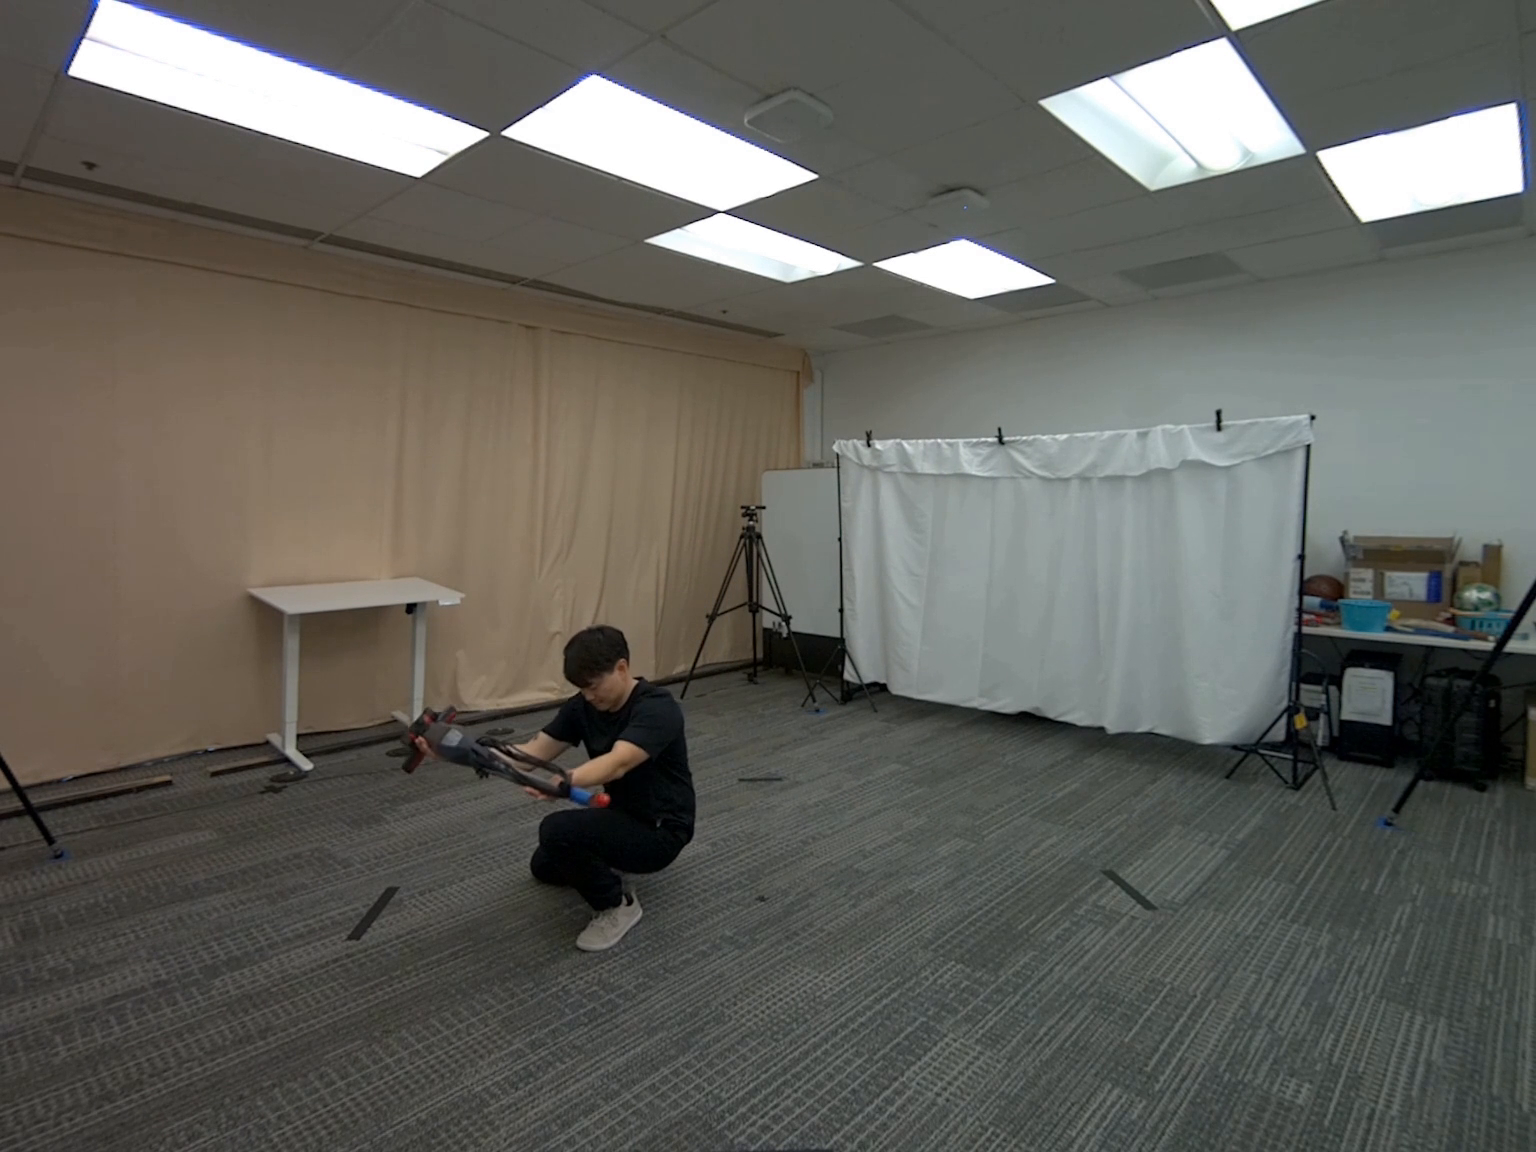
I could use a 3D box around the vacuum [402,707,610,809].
[{"bbox_3d":[-0.768,0.533,2.391,1.083,0.140,0.251,1,47,49],"label":"vacuum"}]
